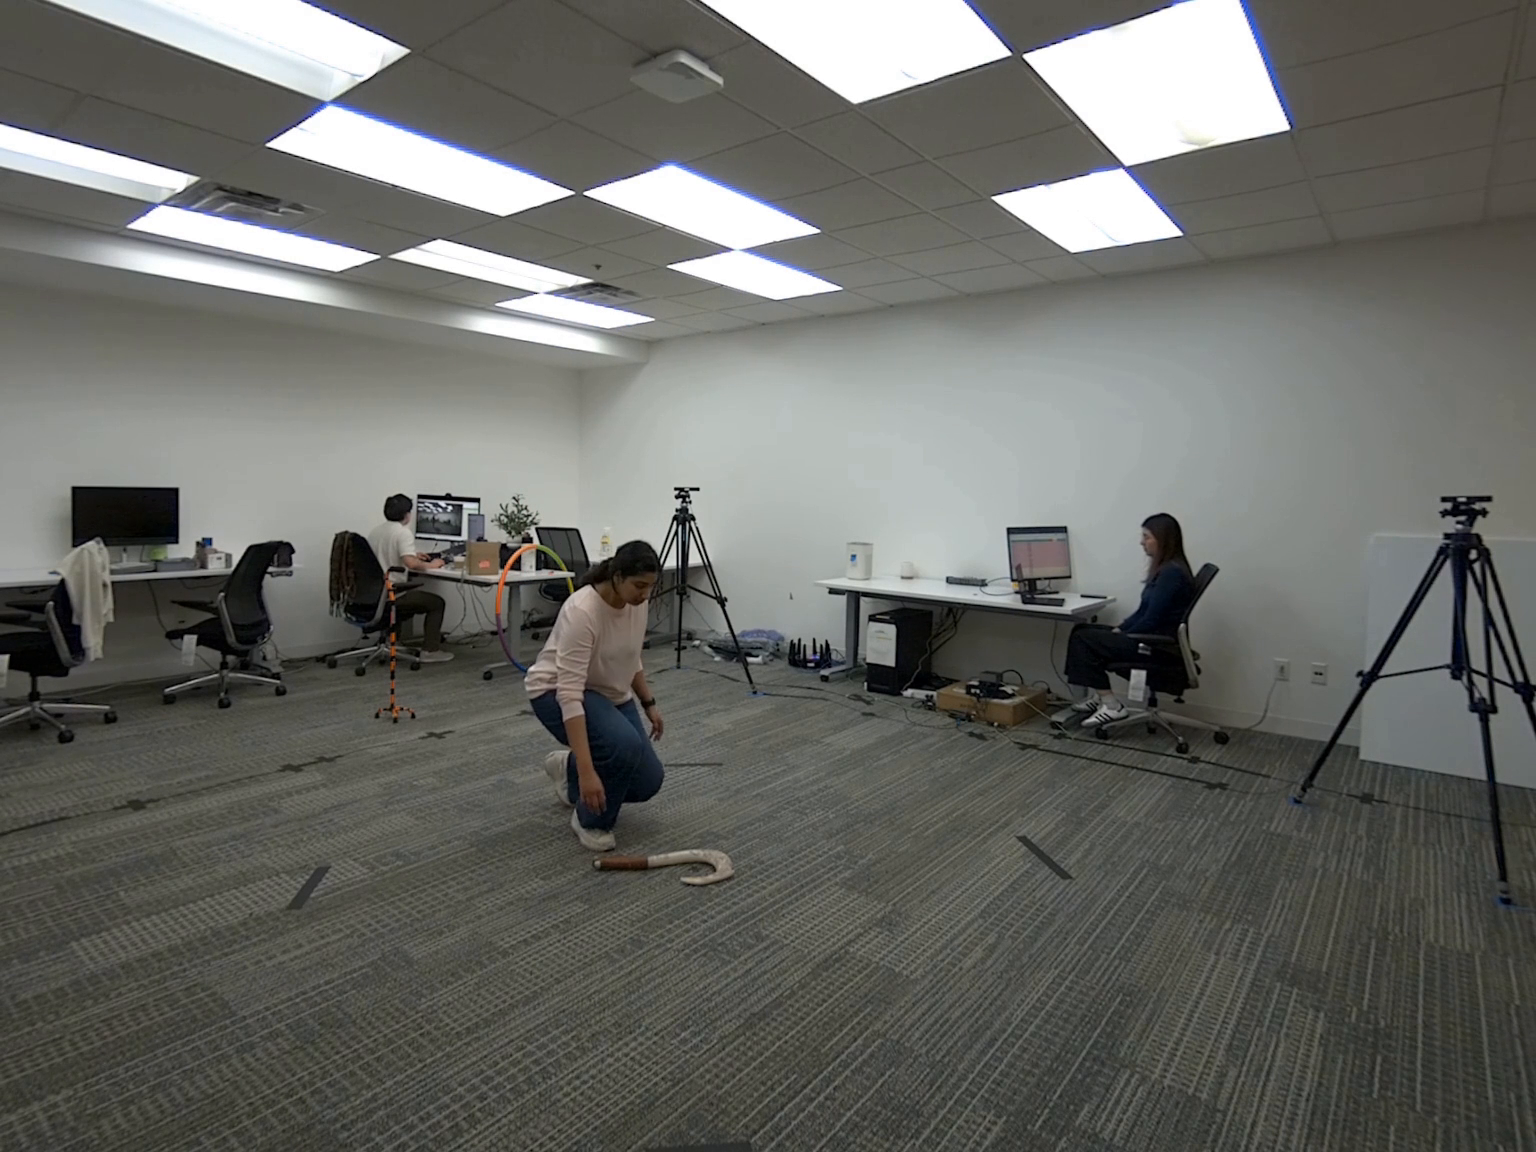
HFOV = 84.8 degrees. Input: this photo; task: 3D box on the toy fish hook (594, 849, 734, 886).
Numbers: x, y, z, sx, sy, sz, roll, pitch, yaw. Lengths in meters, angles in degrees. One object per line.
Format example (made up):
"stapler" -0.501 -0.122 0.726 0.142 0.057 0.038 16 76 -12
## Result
"toy fish hook" -0.388 1.044 3.059 0.503 0.048 0.227 -1 5 -8
